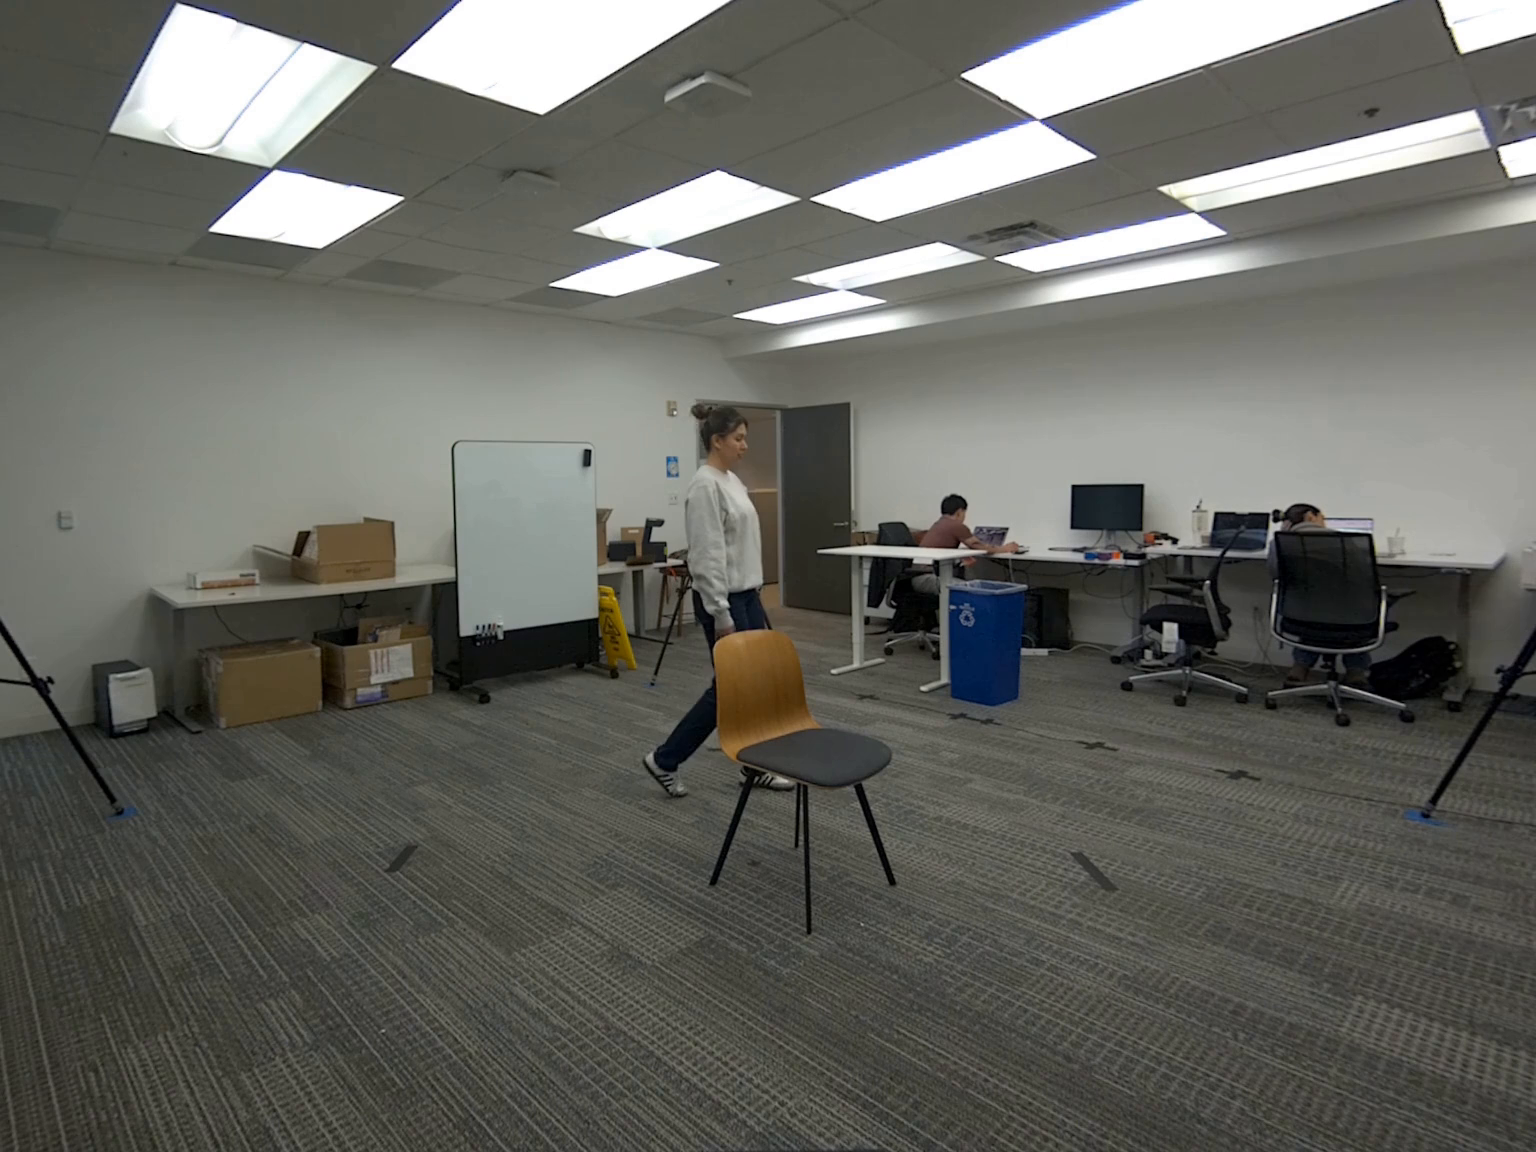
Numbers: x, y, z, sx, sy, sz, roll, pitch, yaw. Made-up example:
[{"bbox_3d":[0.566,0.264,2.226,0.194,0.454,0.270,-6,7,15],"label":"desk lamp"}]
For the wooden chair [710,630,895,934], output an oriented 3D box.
[{"bbox_3d":[0.118,0.638,2.896,0.465,0.877,0.537,-5,1,-45],"label":"wooden chair"}]
